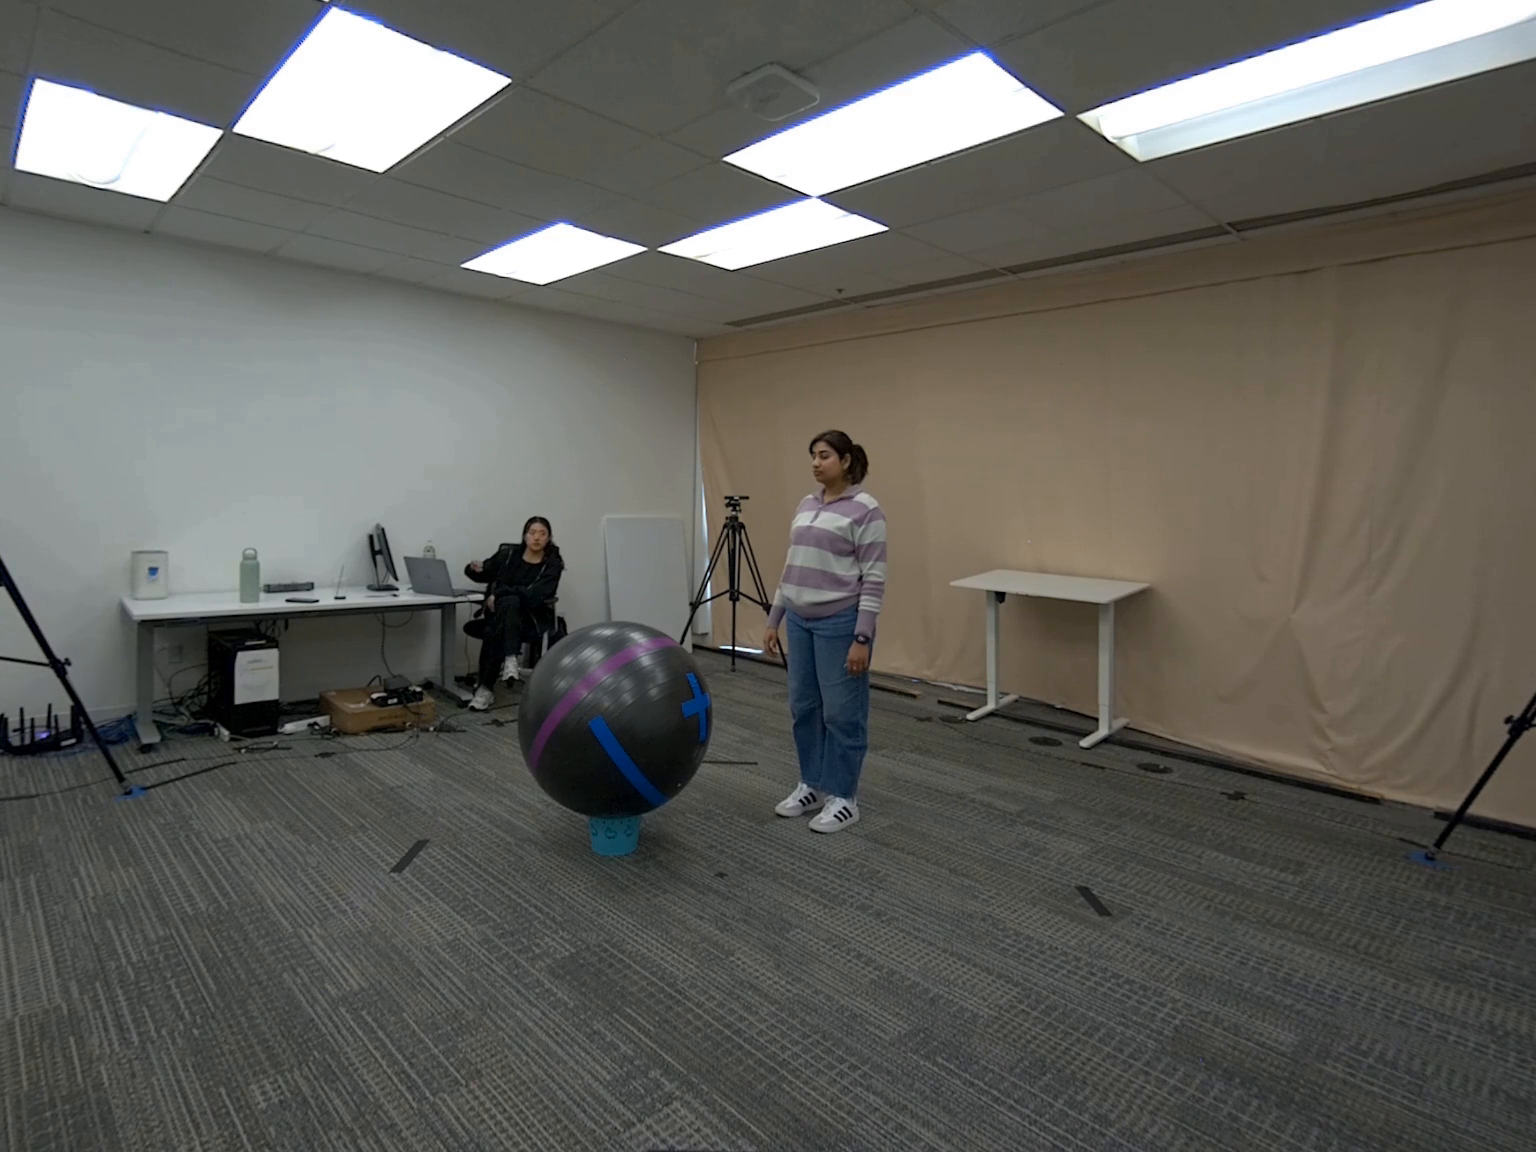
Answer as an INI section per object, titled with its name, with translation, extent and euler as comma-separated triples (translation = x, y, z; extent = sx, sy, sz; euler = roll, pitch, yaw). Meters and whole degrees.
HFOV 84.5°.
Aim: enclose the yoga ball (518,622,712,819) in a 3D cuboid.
[yoga ball]
translation = -0.607, 0.562, 3.315
extent = 0.757, 0.756, 0.761
euler = 1, 4, -1
